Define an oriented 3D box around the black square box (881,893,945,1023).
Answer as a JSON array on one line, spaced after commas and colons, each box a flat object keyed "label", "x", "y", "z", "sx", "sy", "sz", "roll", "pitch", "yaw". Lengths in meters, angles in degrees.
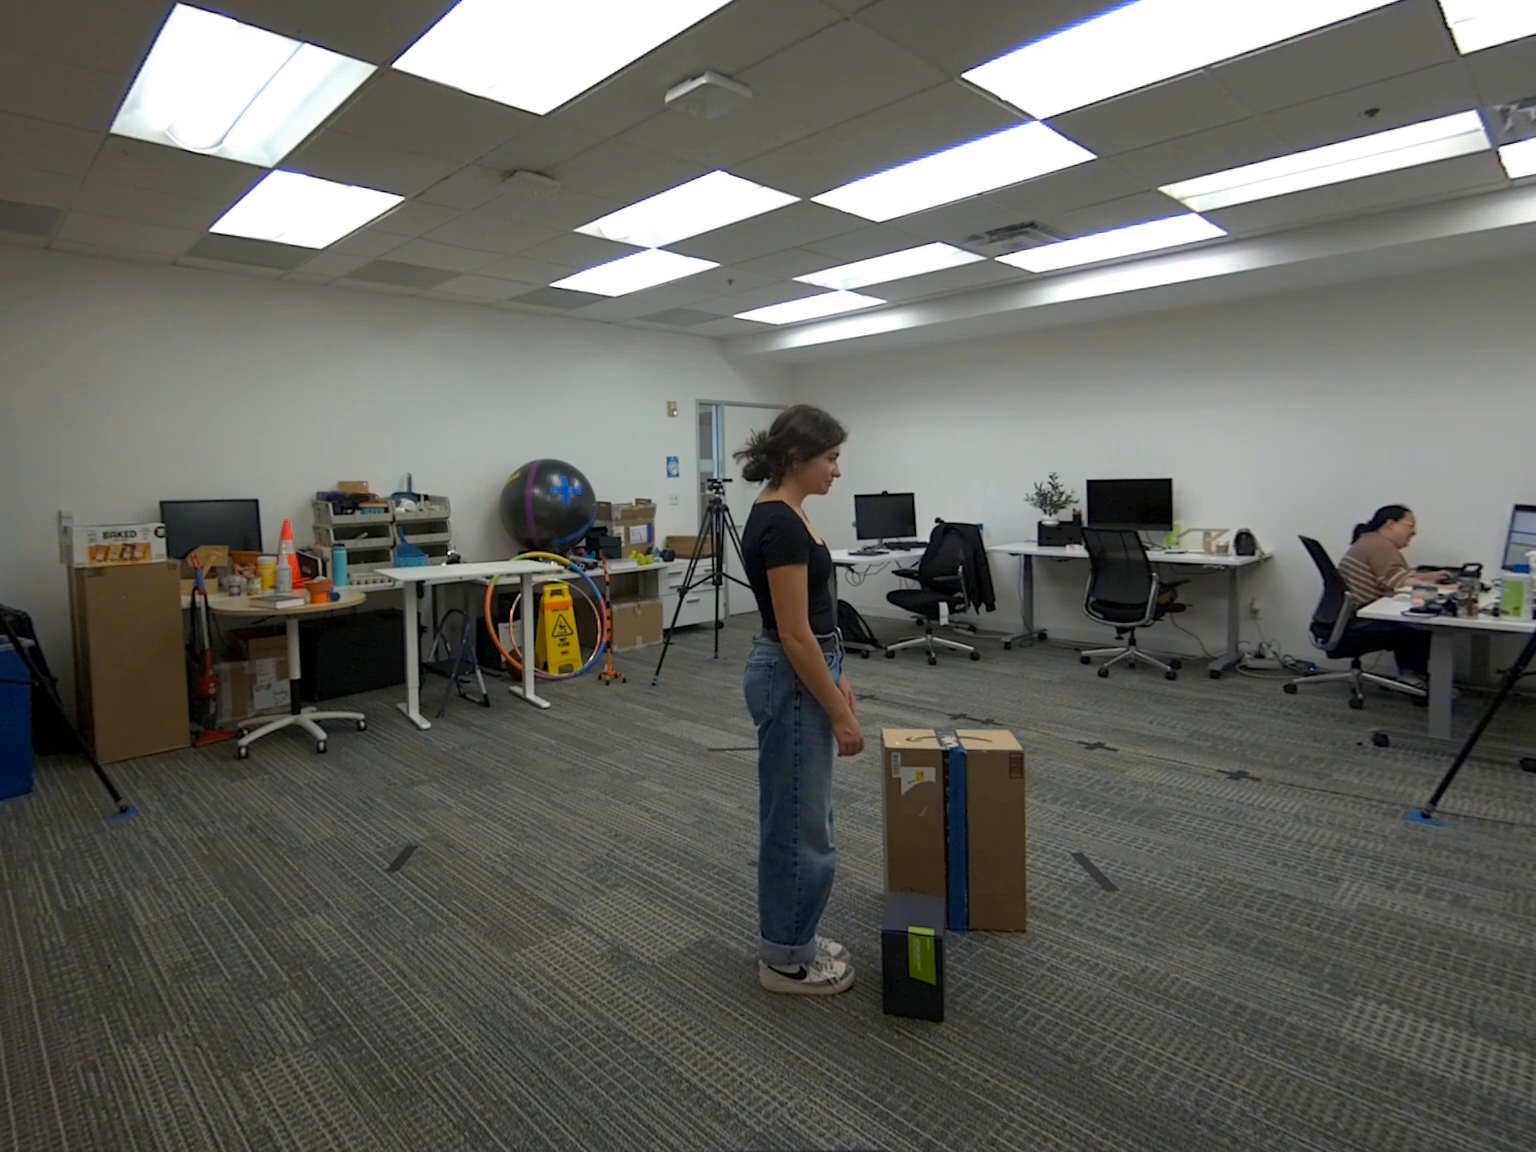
[{"label": "black square box", "x": 0.395, "y": 1.005, "z": 2.296, "sx": 0.158, "sy": 0.227, "sz": 0.215, "roll": 0, "pitch": 5, "yaw": 14}]
